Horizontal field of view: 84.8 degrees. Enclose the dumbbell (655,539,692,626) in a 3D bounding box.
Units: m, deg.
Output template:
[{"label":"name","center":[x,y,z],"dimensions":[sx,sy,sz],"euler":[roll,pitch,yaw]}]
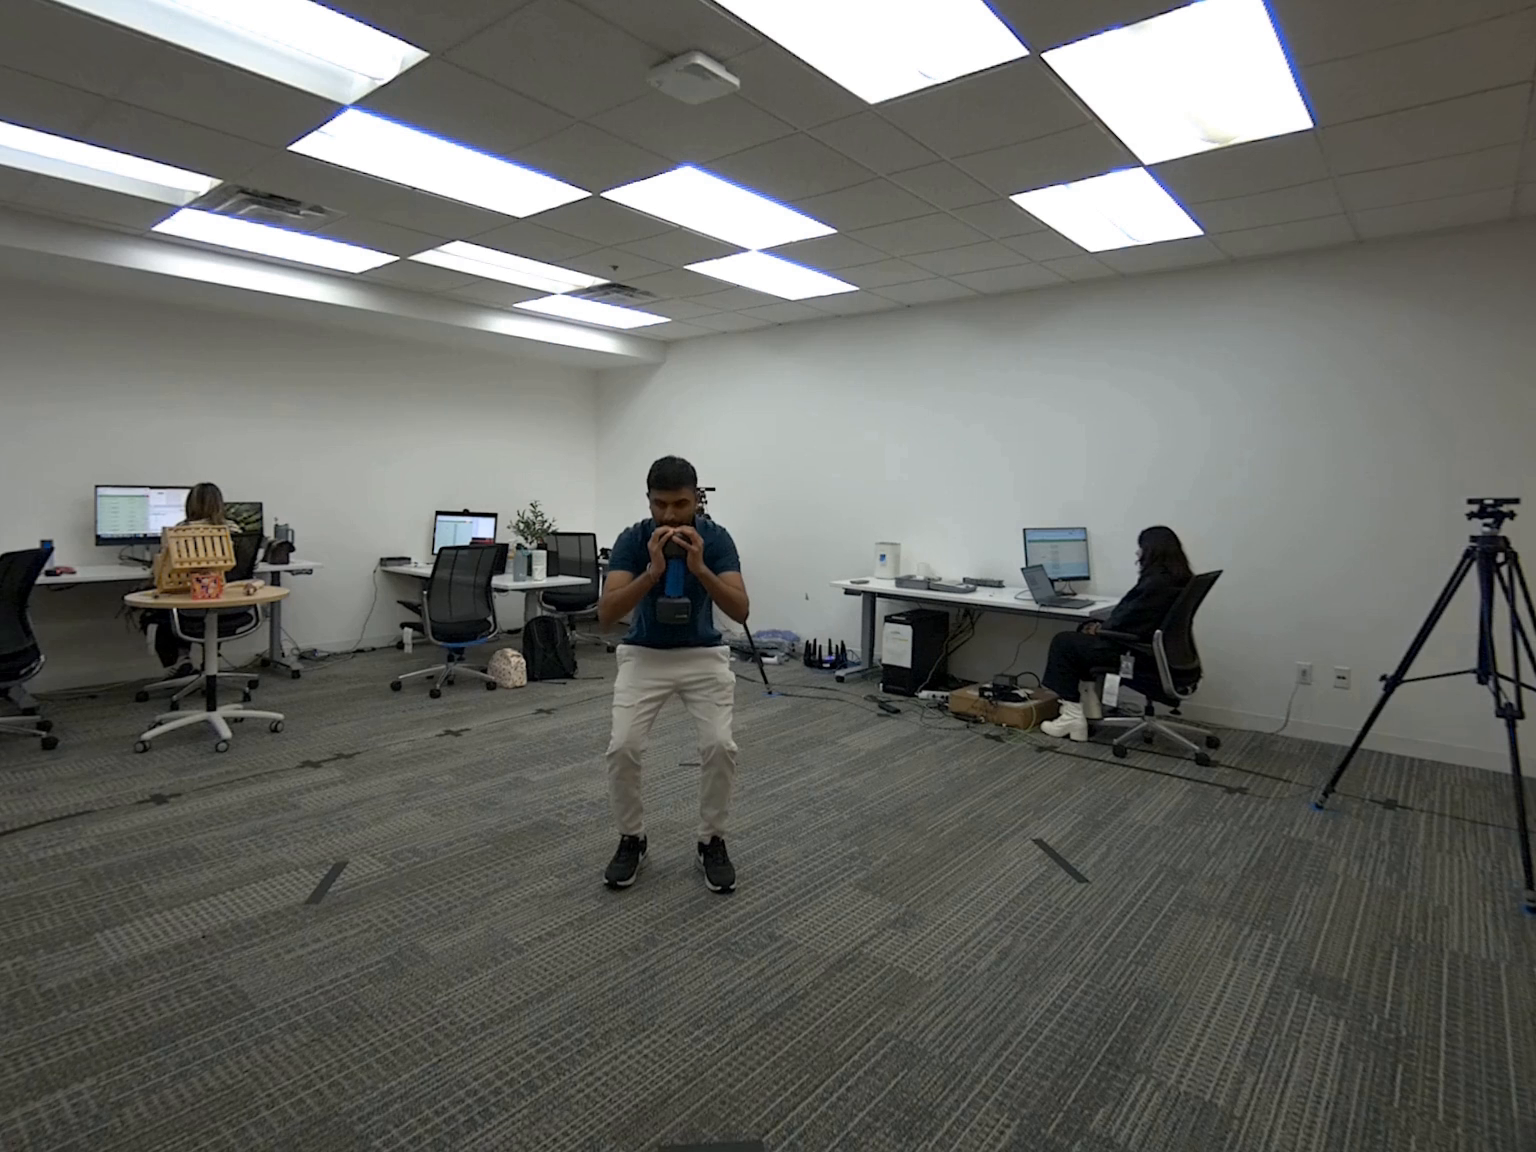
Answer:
[{"label":"dumbbell","center":[-0.310,0.005,2.762],"dimensions":[0.108,0.293,0.124],"euler":[3,2,-8]}]
